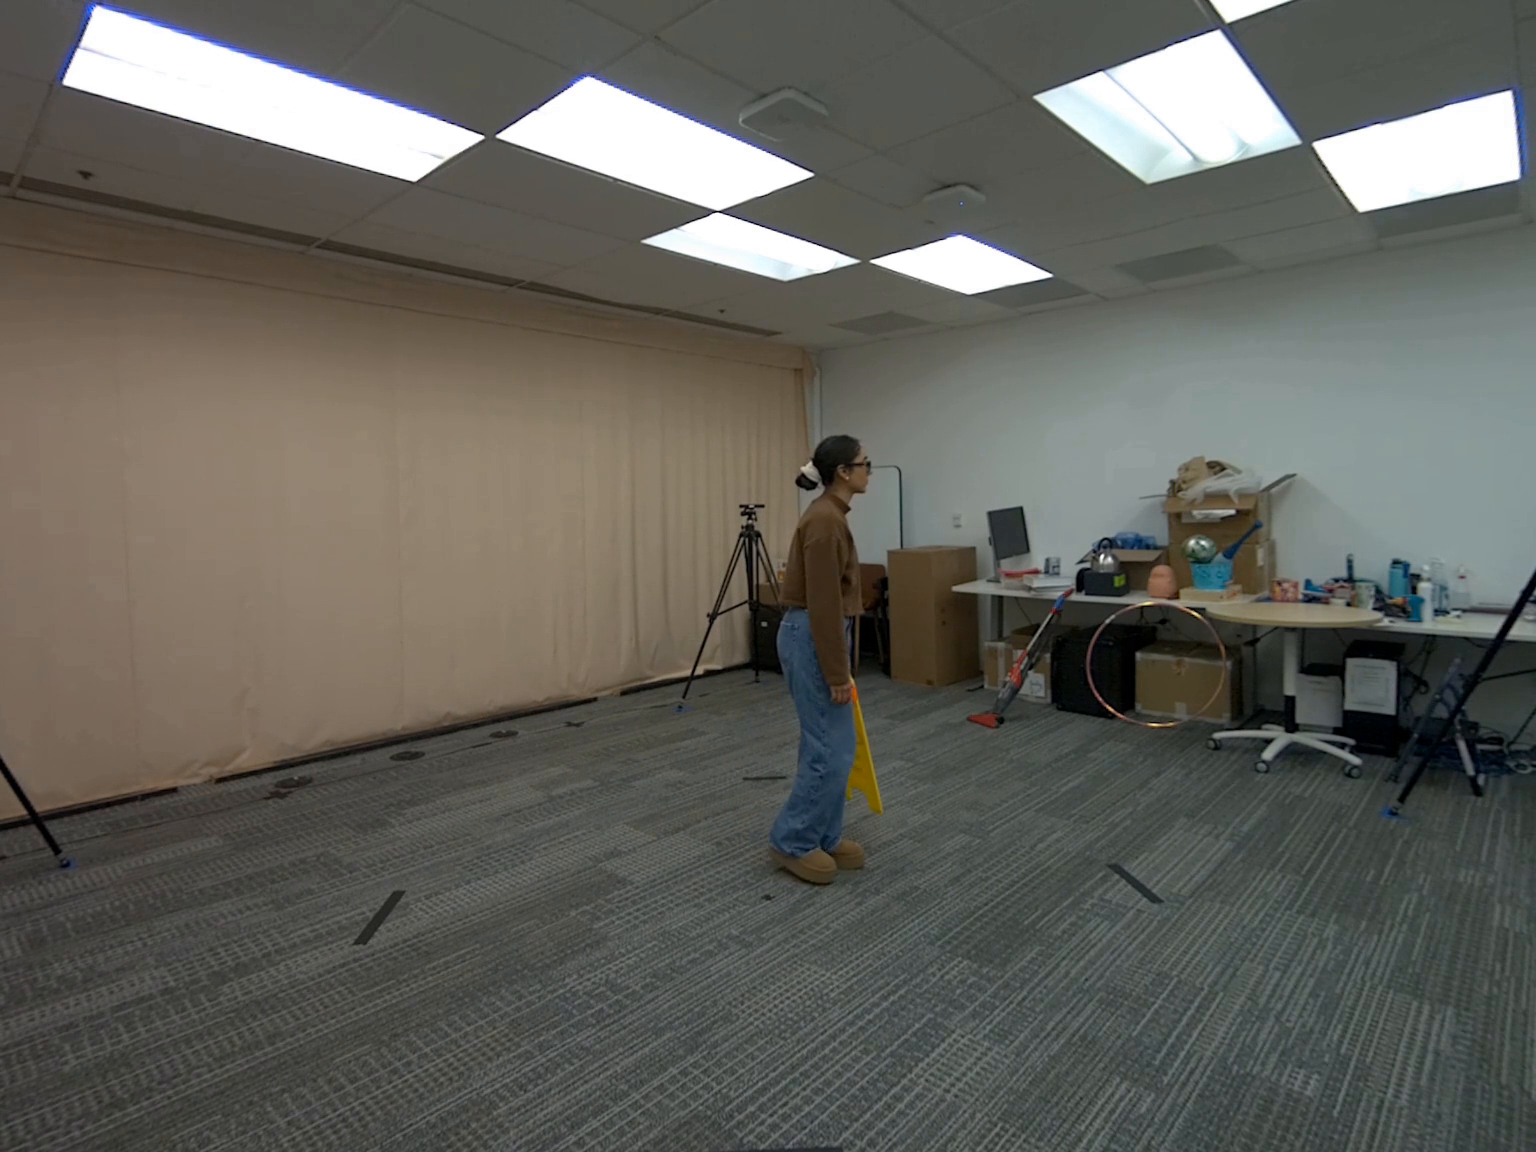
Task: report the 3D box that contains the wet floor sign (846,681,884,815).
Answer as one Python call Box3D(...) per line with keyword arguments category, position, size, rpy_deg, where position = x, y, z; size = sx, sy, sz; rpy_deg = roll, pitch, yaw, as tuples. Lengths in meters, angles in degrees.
Box3D(category="wet floor sign", position=(0.280, 0.659, 3.517), size=(0.282, 0.645, 0.290), rpy_deg=(-4, 2, -31))
